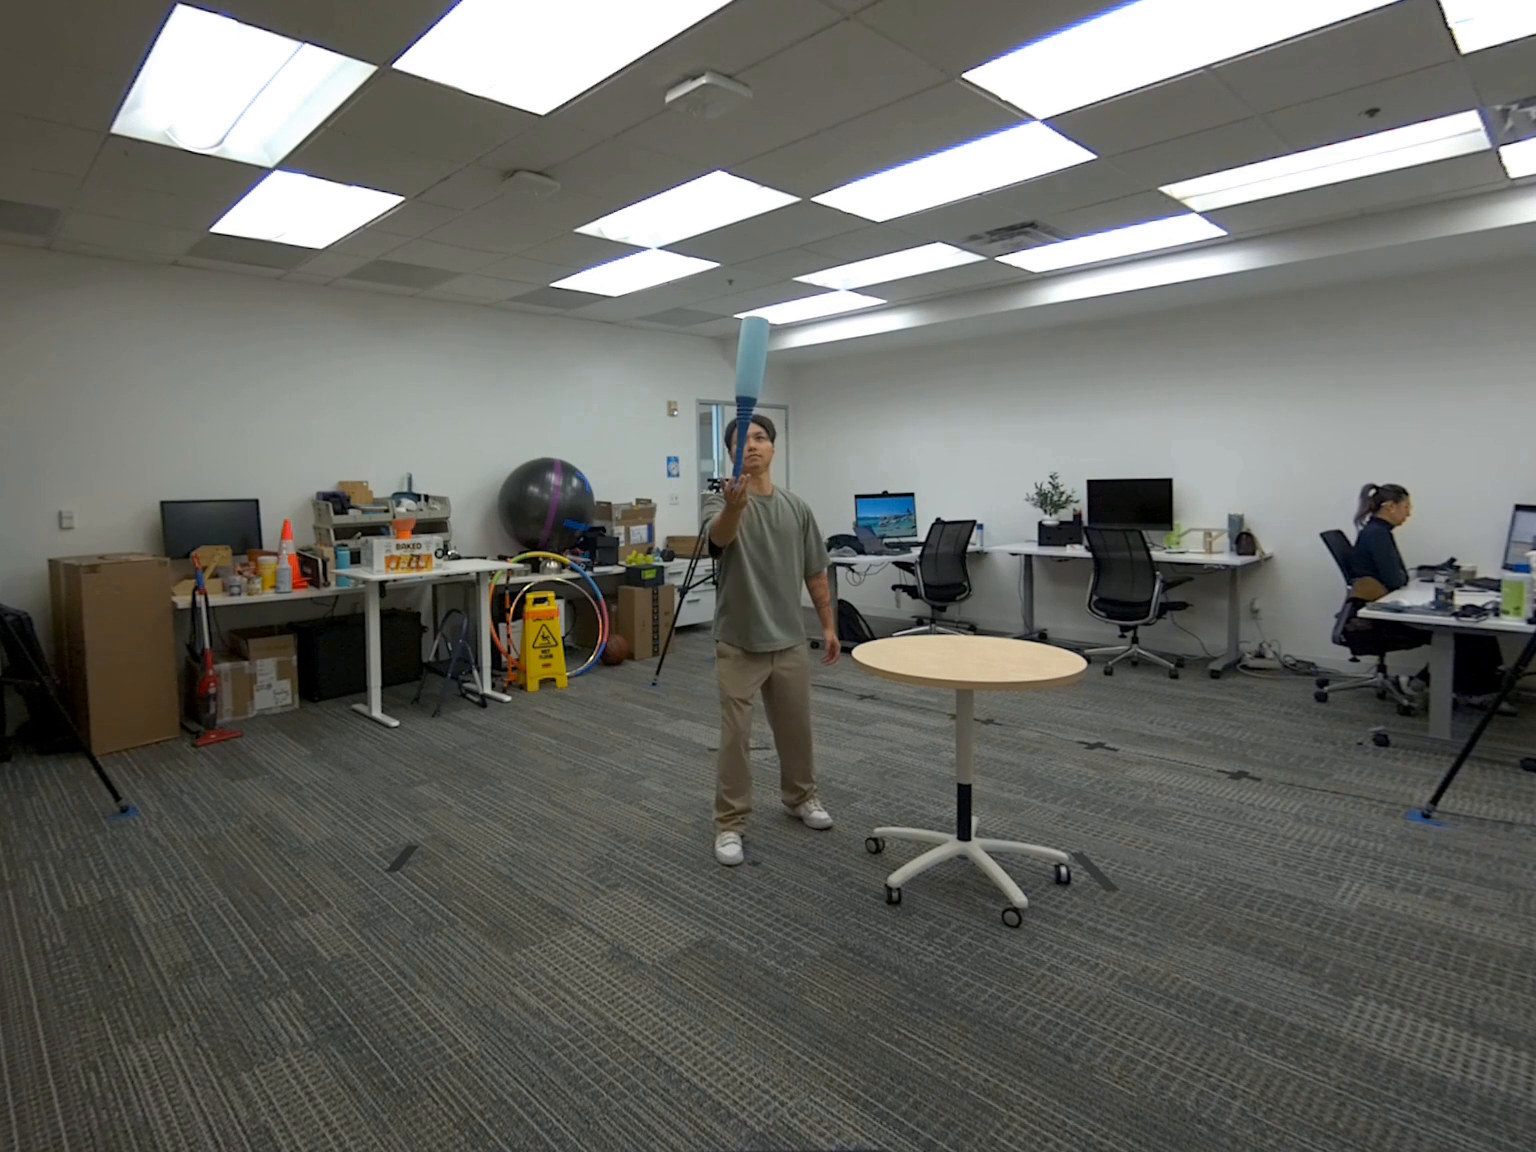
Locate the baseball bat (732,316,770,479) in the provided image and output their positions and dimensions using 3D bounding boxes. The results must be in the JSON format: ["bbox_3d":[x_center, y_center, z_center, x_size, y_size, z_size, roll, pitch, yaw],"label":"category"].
[{"bbox_3d":[-0.059,-0.524,2.606,0.089,0.542,0.089,7,1,-2],"label":"baseball bat"}]
